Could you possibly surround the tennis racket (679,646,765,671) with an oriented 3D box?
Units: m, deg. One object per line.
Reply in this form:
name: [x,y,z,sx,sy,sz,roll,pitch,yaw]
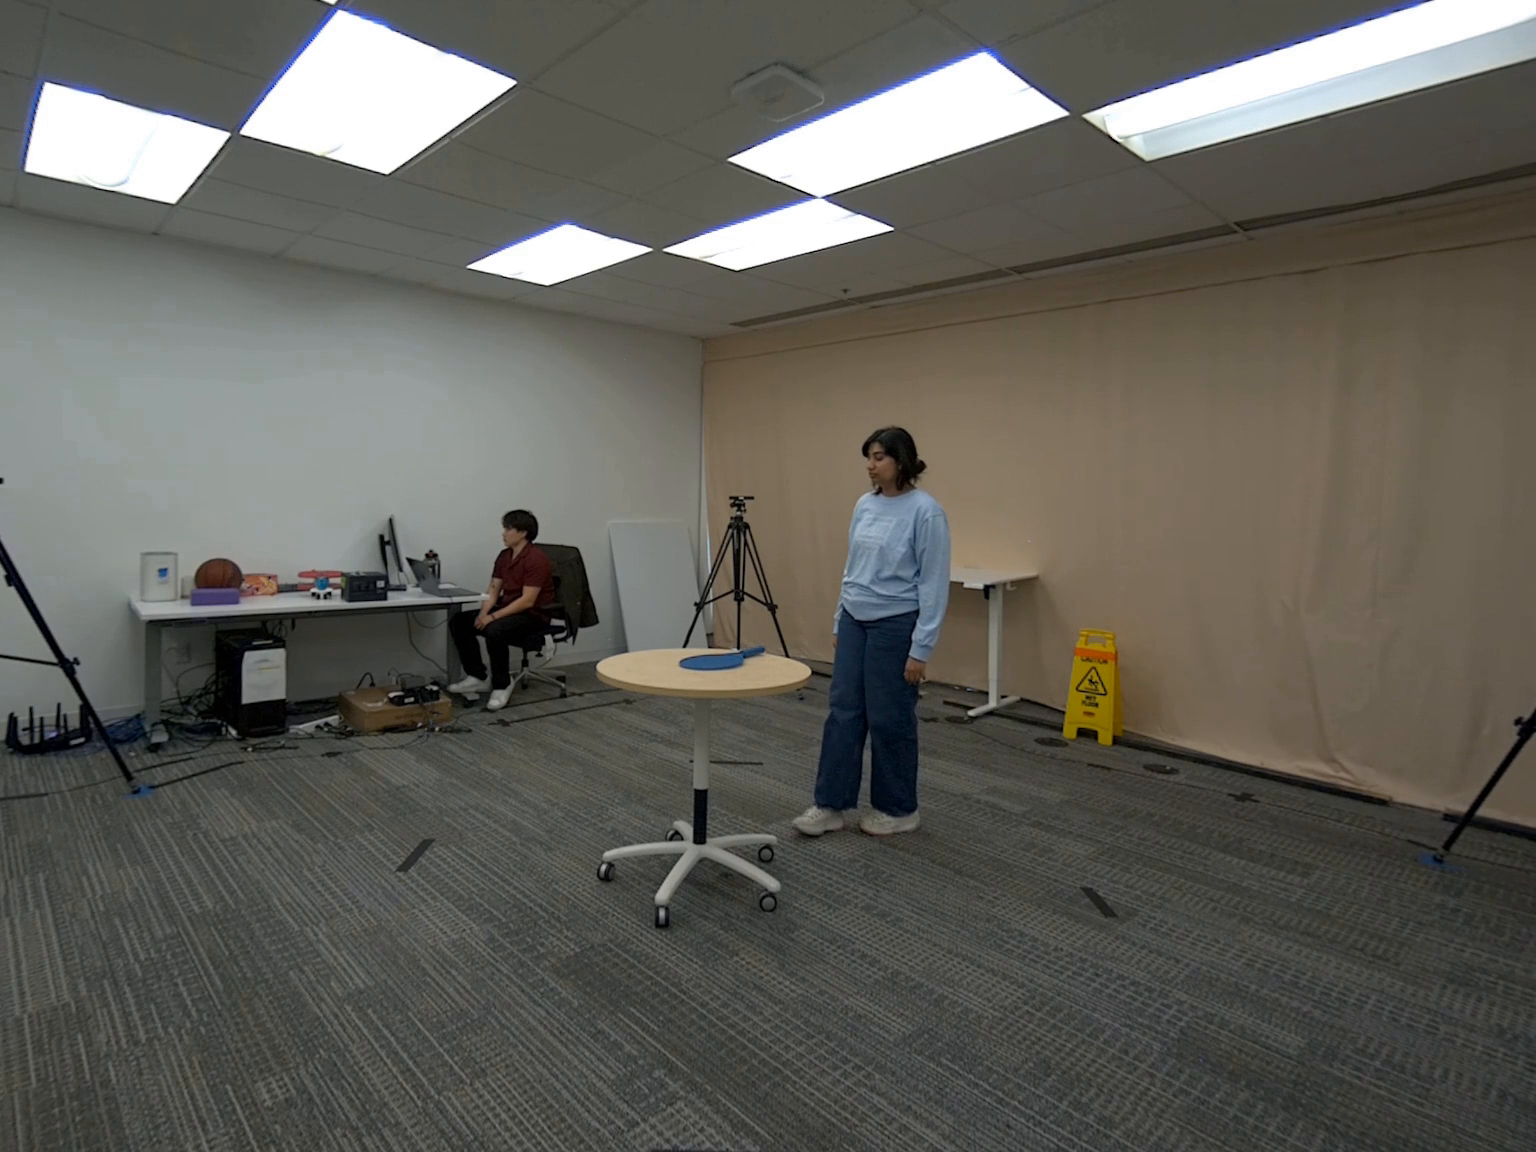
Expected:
tennis racket: [-0.158,0.308,3.132,0.219,0.031,0.424,6,8,38]
